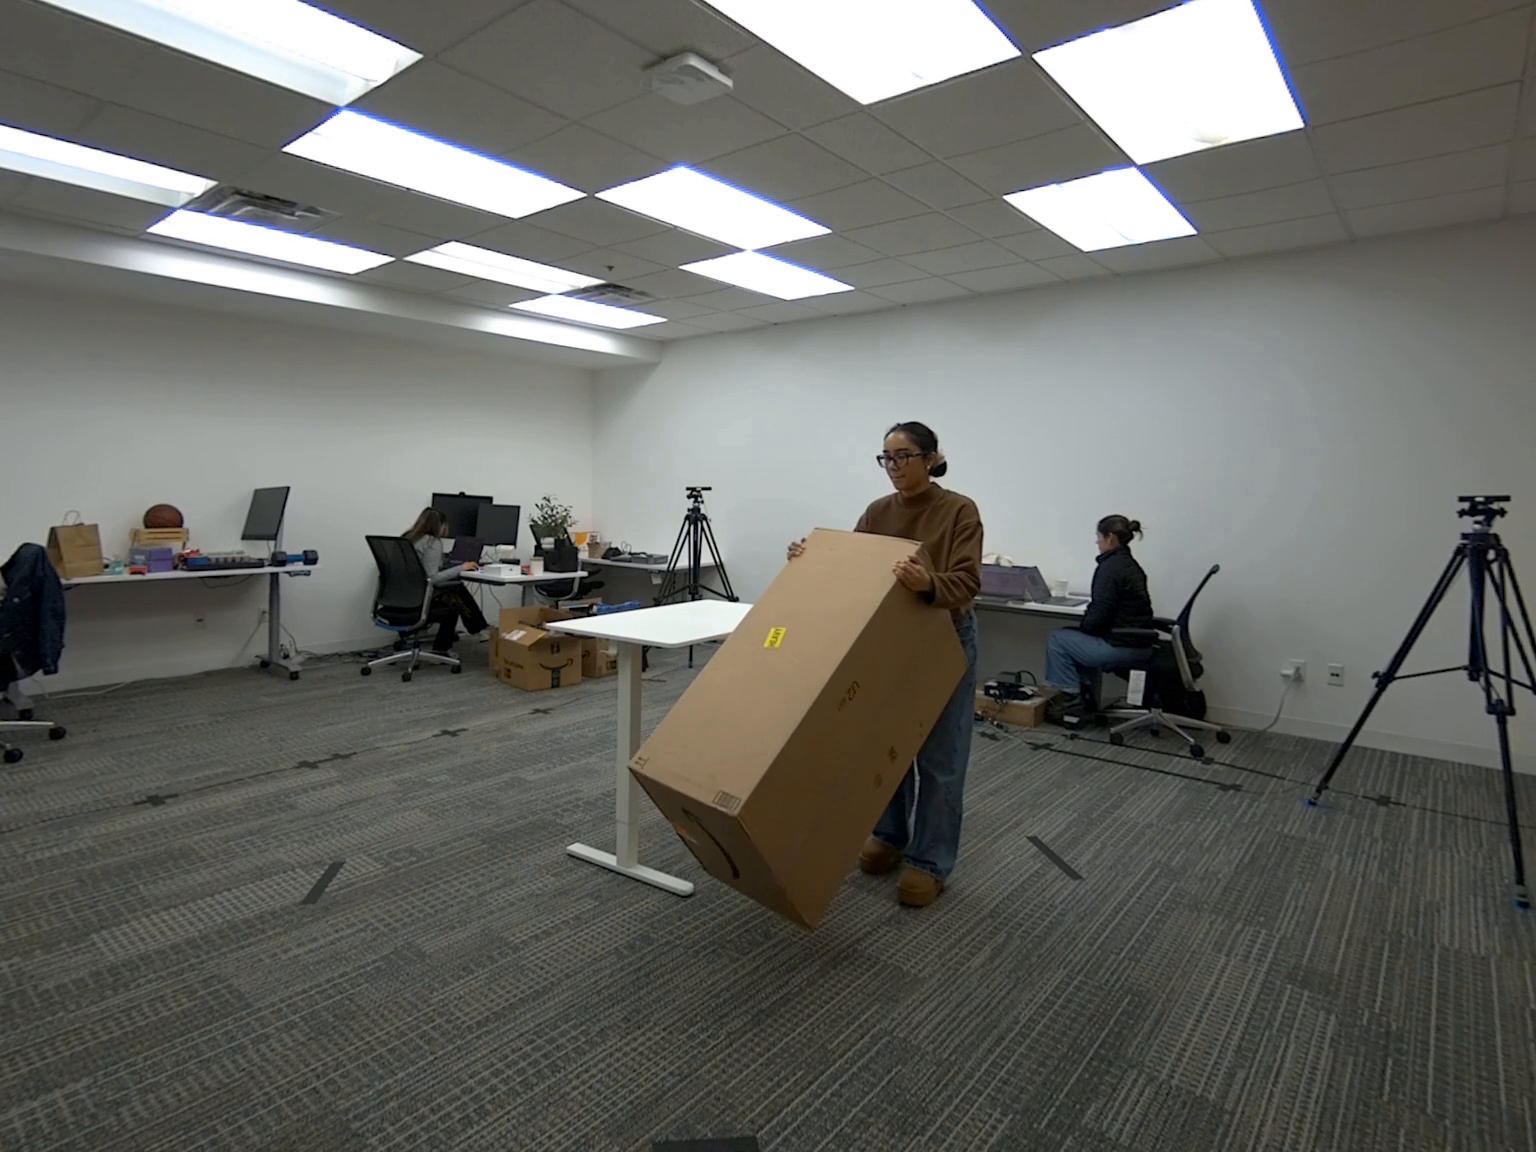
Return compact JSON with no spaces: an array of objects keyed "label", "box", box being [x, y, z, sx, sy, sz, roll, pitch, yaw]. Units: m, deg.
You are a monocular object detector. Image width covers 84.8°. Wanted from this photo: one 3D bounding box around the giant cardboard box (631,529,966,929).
[{"label":"giant cardboard box","box":[0.130,0.421,2.631,0.442,0.556,1.027,10,50,42]}]
